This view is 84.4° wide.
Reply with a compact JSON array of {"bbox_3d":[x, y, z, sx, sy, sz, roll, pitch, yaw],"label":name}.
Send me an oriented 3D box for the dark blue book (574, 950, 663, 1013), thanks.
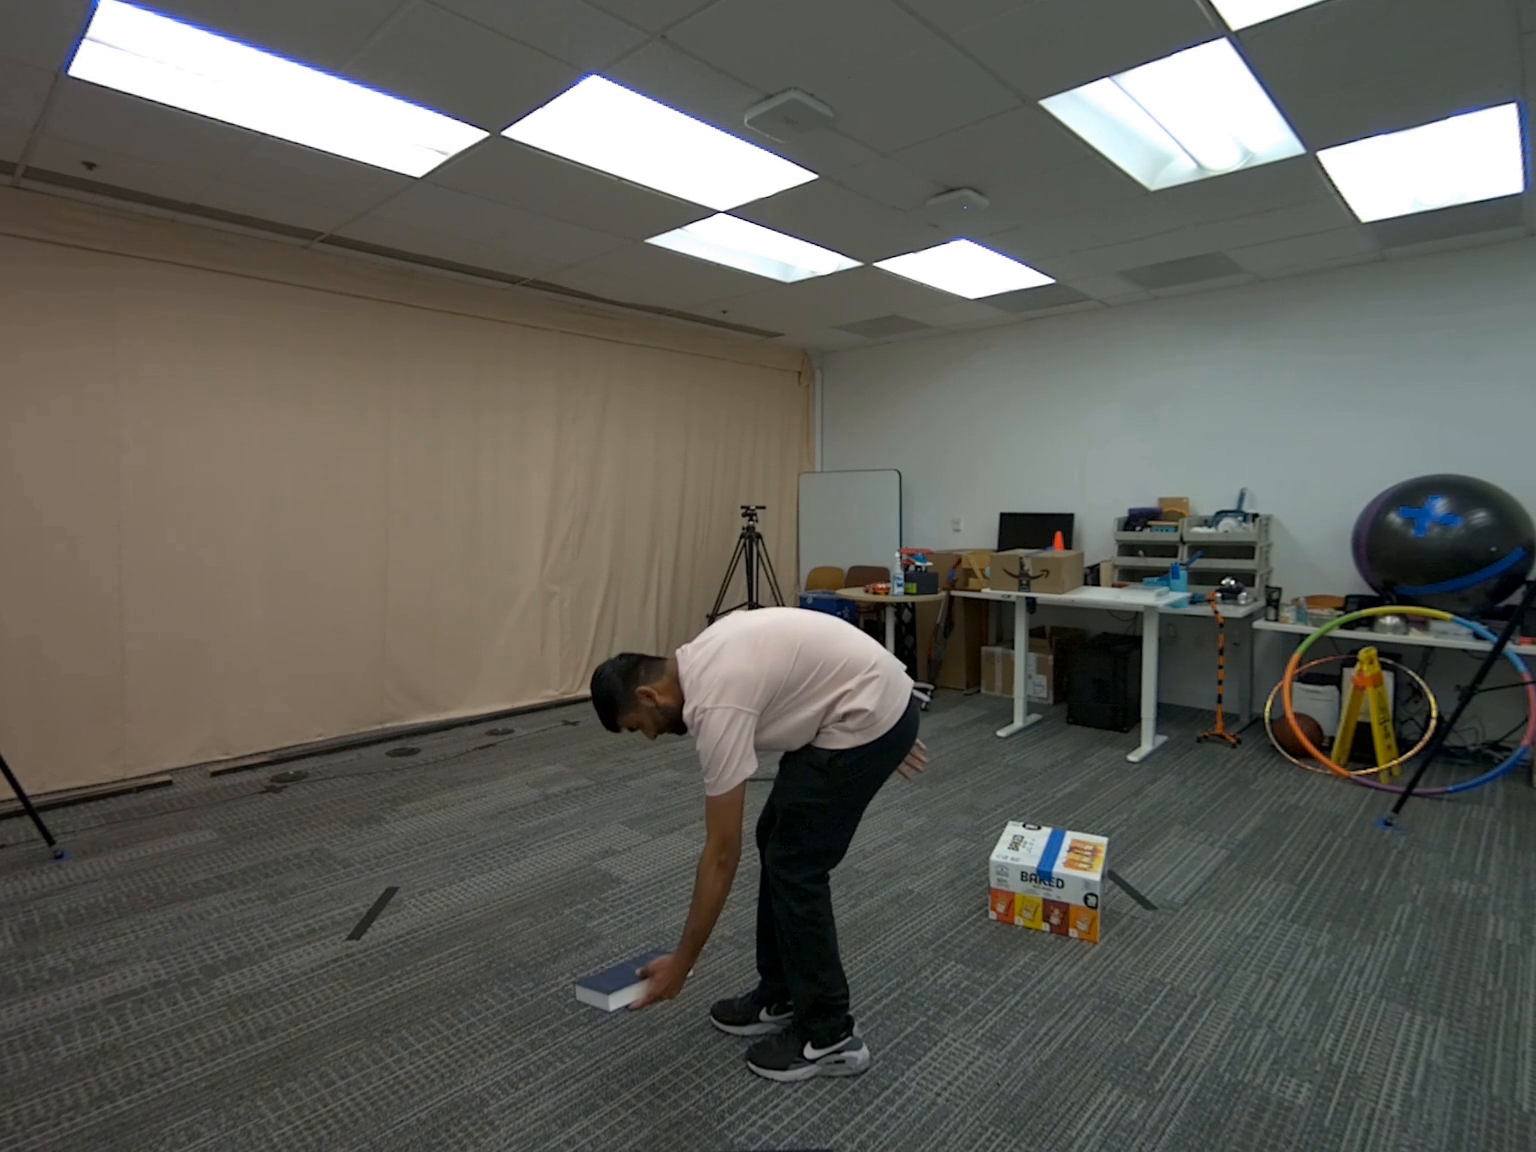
[{"bbox_3d":[-0.314,0.962,2.010,0.237,0.045,0.167,-3,-9,-41],"label":"dark blue book"}]
